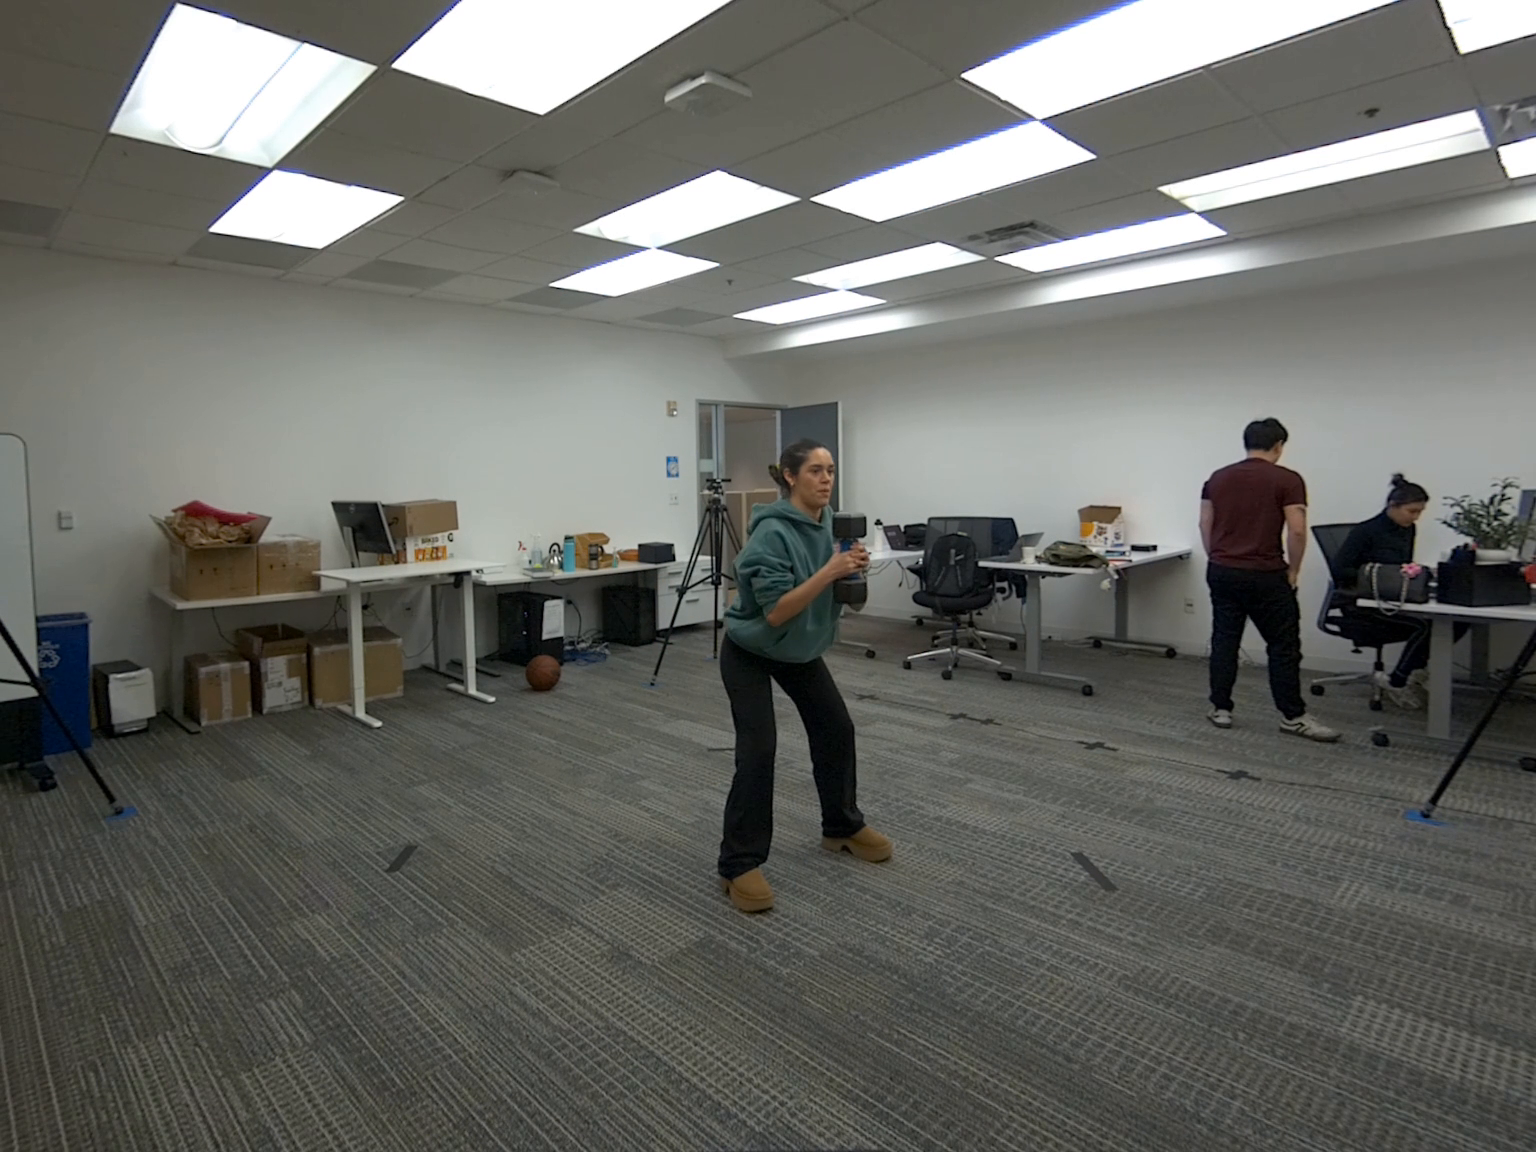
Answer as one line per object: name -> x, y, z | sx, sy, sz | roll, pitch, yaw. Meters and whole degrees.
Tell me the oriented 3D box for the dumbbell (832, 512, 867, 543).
dumbbell -> 0.246, -0.048, 2.782 | 0.109, 0.292, 0.123 | -3, 6, 3
